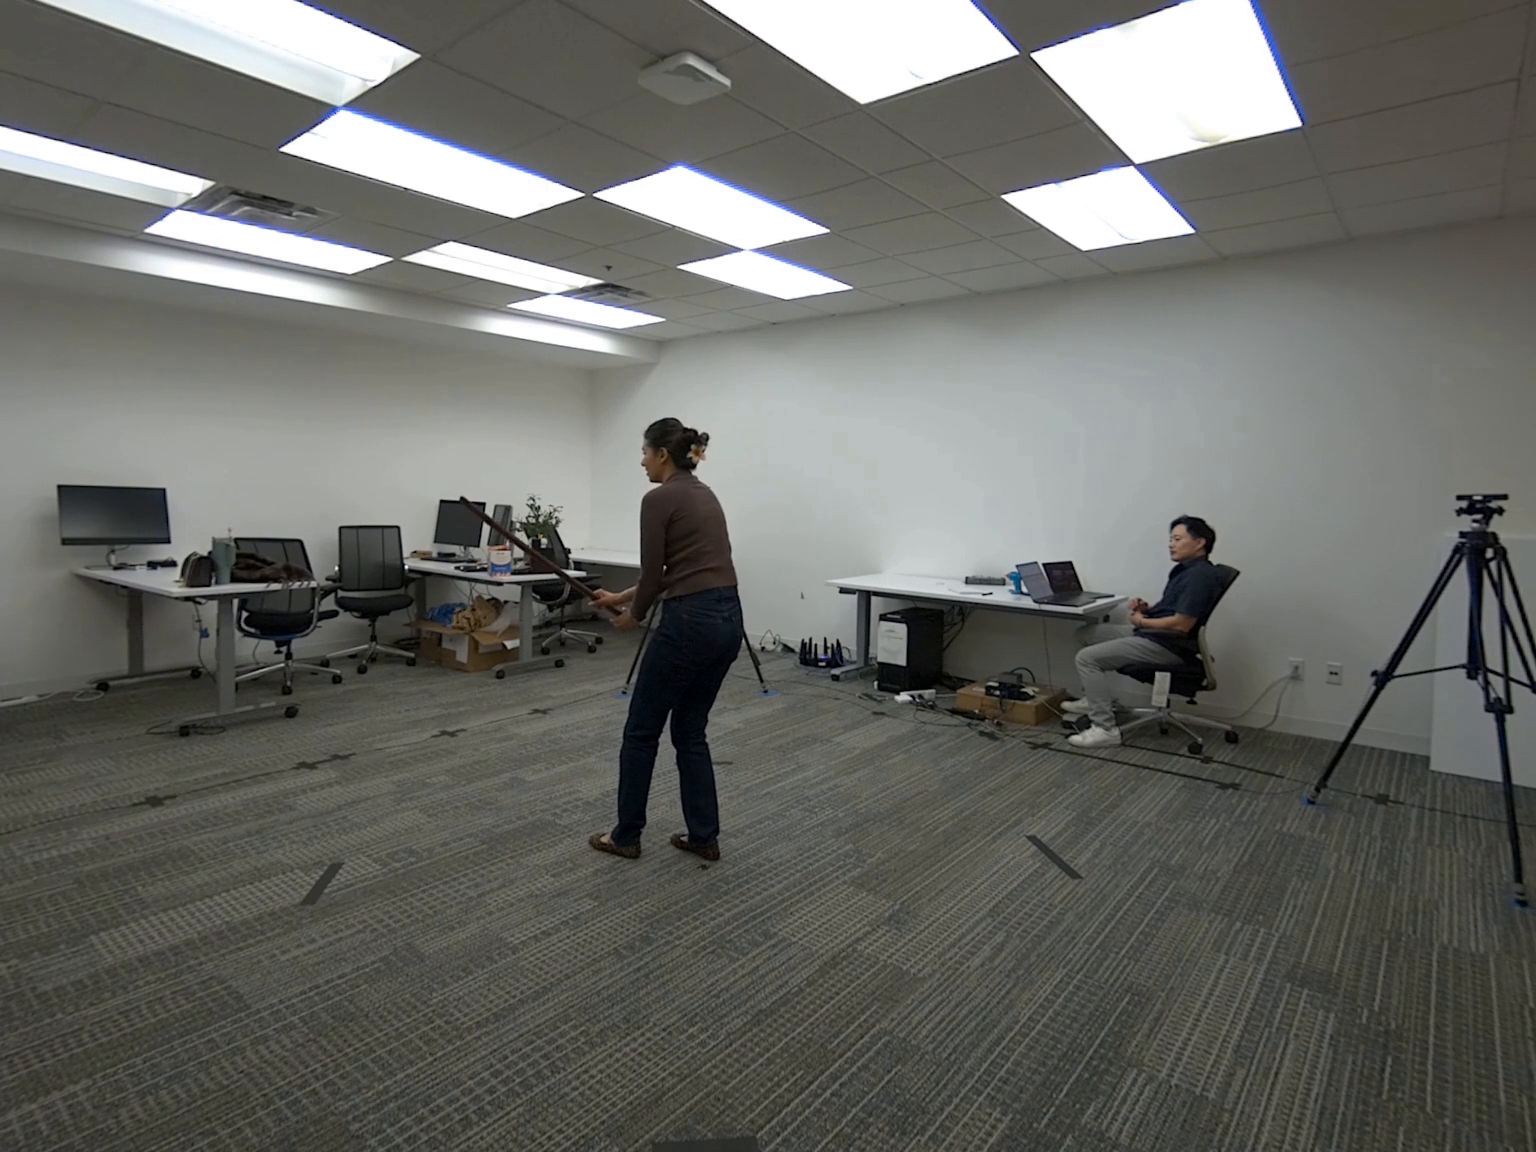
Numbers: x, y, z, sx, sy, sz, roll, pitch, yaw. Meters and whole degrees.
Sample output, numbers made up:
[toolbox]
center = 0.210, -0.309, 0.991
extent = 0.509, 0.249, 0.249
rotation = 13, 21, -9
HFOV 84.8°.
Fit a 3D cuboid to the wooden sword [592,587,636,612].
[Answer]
[wooden sword]
center = -0.788, -0.015, 3.124
extent = 0.051, 0.025, 0.982
rotation = -31, -40, 10
